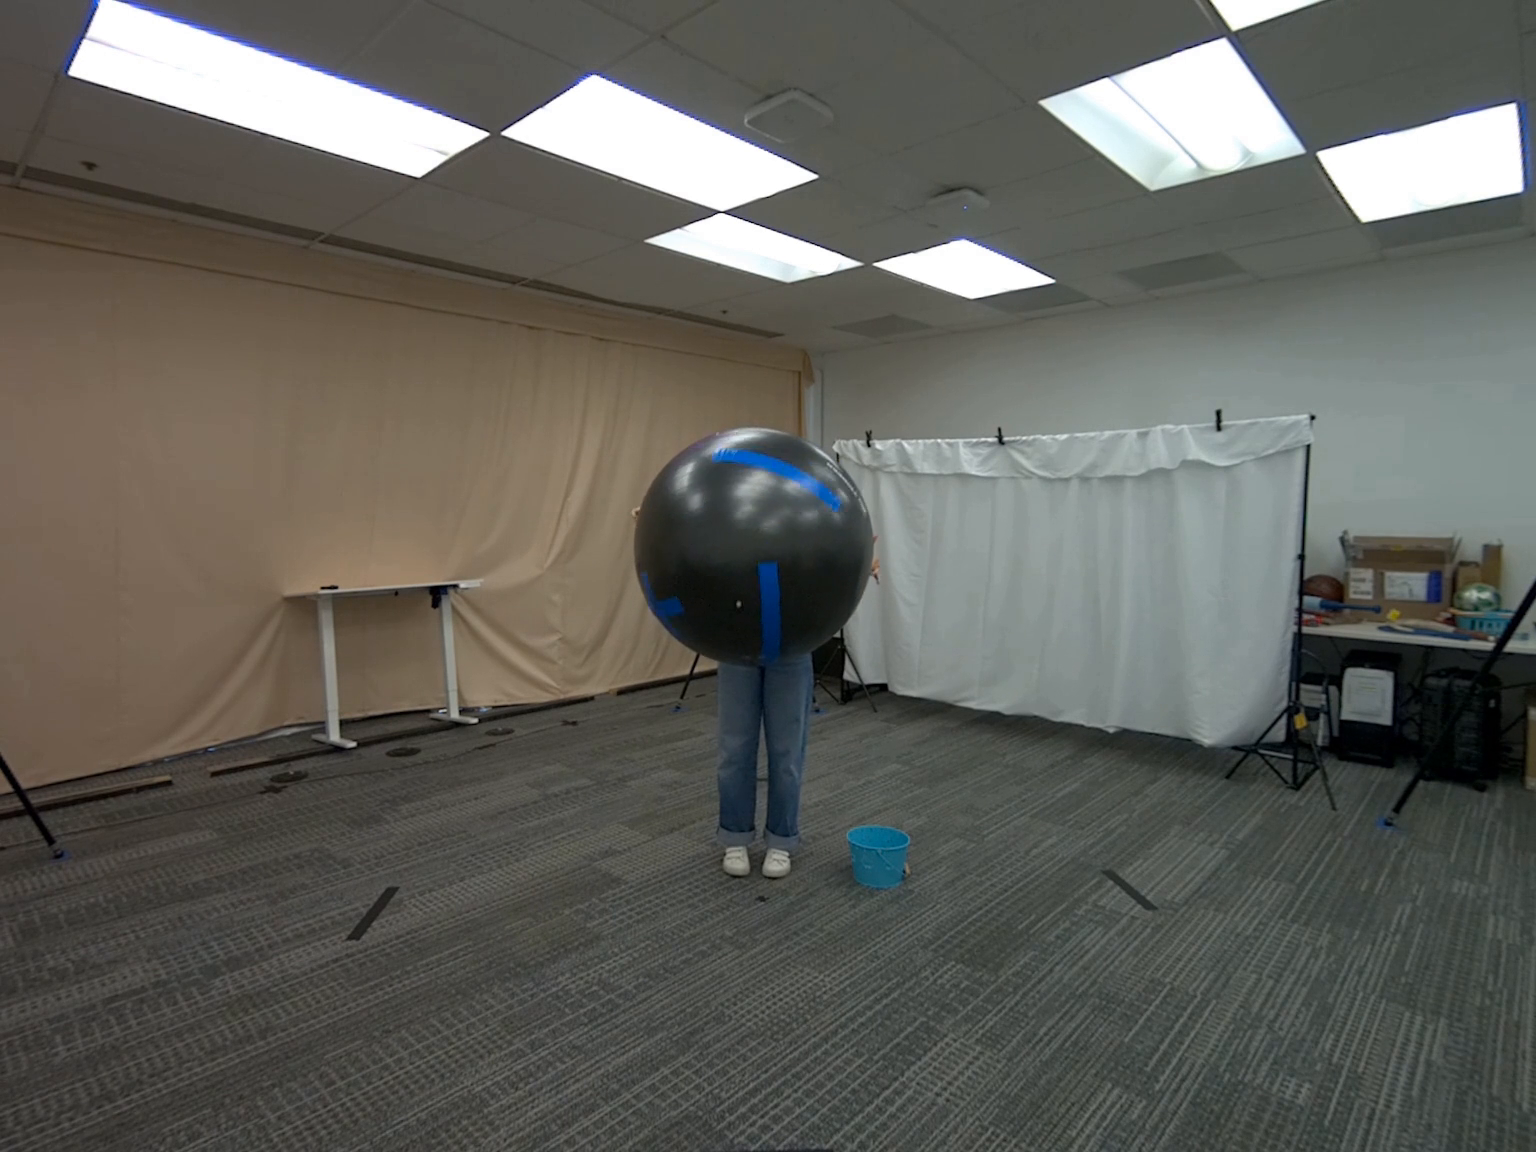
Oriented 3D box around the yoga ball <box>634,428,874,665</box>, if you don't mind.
[{"bbox_3d":[-0.048,-0.098,2.689,0.757,0.756,0.760,0,4,-2],"label":"yoga ball"}]
